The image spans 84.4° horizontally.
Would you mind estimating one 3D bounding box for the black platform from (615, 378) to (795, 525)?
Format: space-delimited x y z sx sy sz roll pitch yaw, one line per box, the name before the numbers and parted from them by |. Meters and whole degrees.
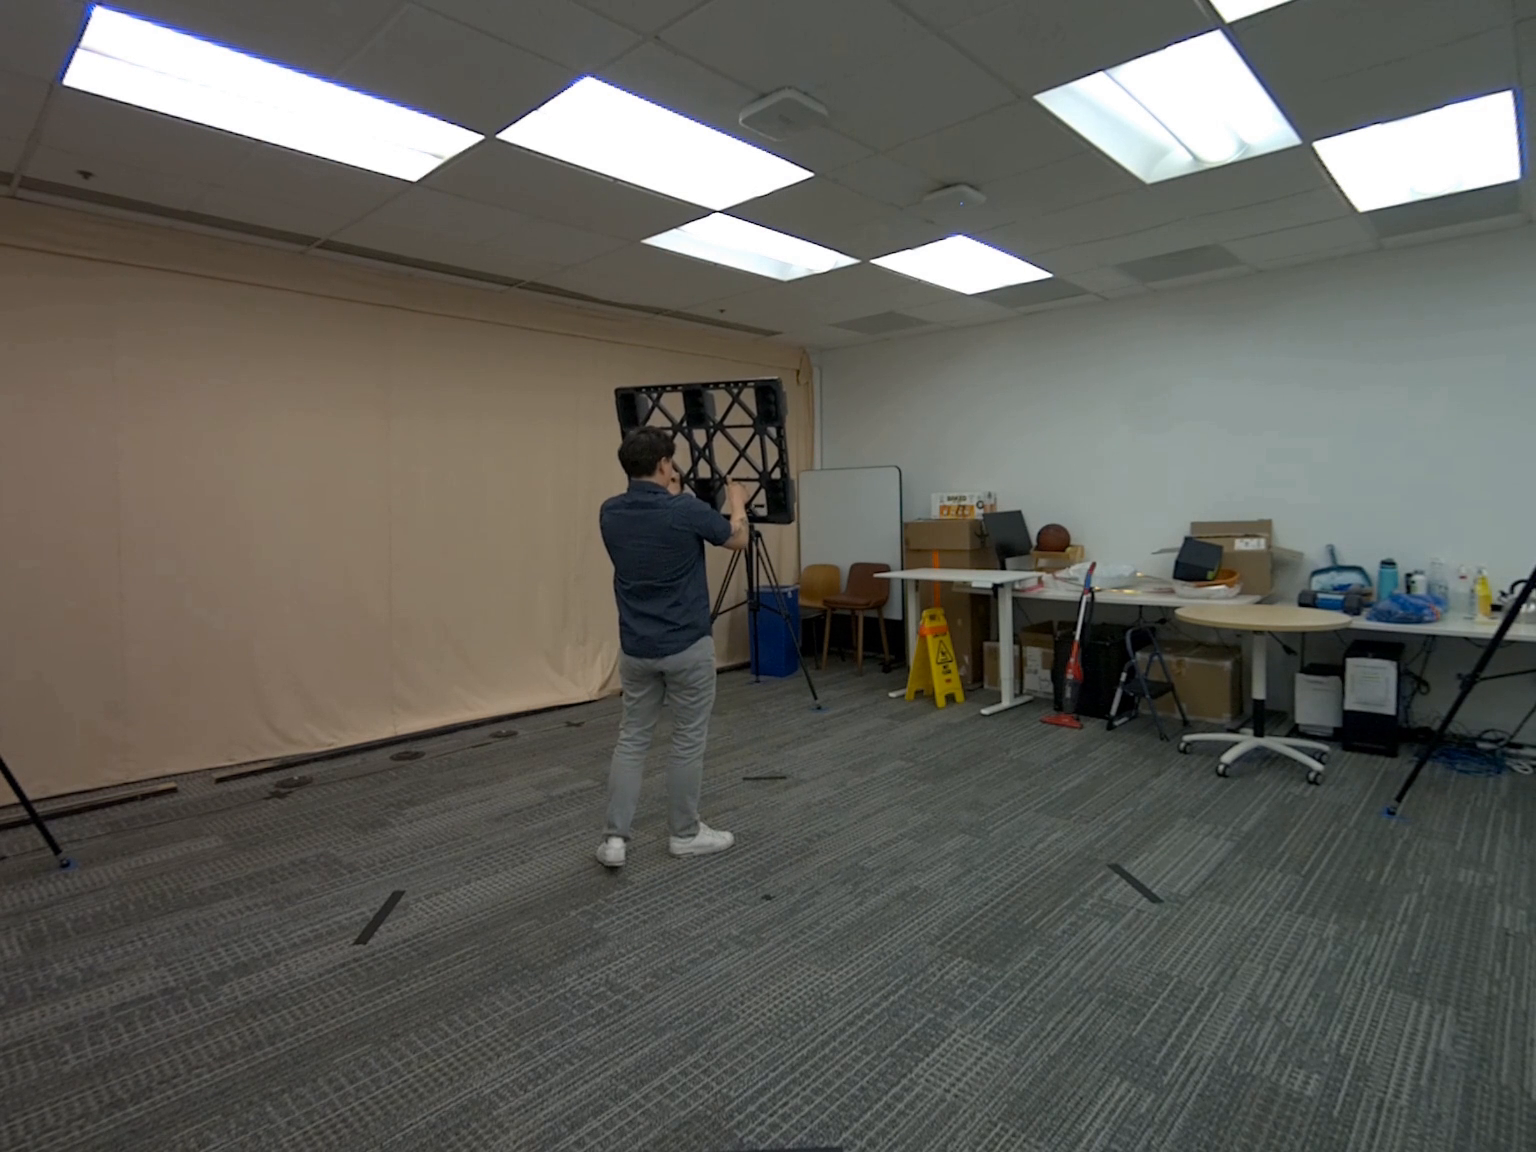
black platform | -0.263 -0.537 3.612 0.828 0.598 0.141 3 18 29
